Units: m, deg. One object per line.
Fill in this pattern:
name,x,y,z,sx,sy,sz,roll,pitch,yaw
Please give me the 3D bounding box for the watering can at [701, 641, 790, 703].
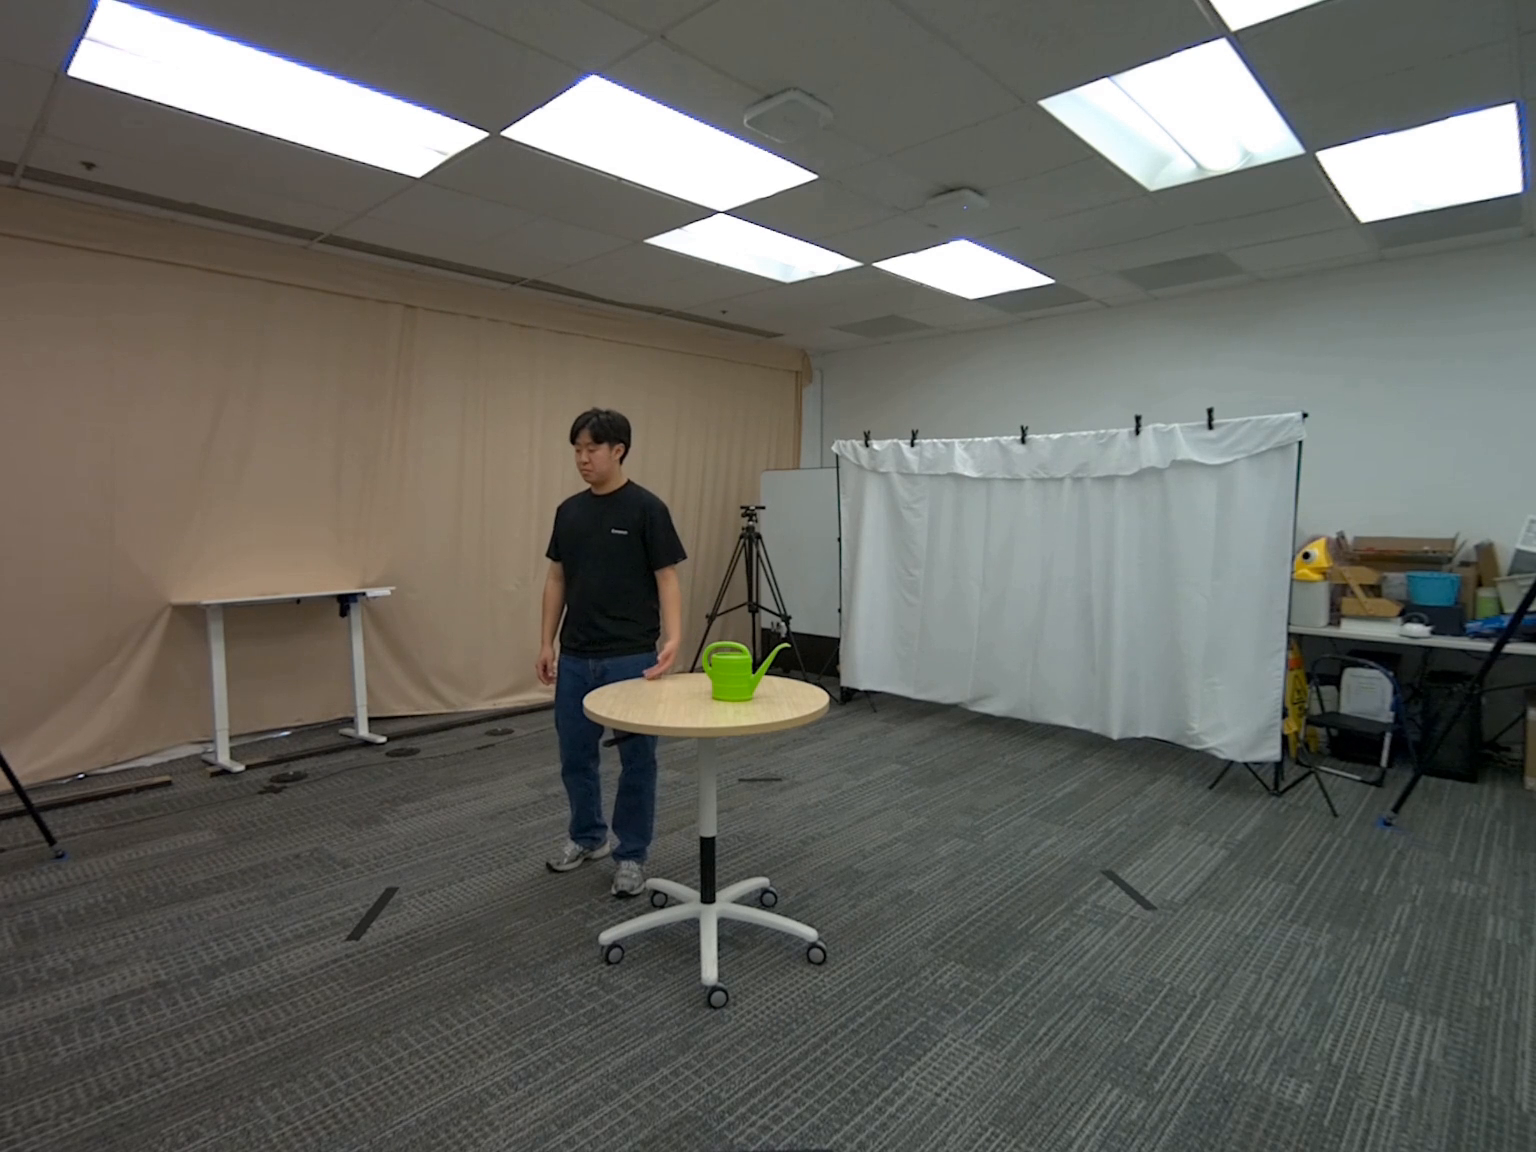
watering can,-0.068,0.292,2.581,0.285,0.176,0.095,-2,3,28
